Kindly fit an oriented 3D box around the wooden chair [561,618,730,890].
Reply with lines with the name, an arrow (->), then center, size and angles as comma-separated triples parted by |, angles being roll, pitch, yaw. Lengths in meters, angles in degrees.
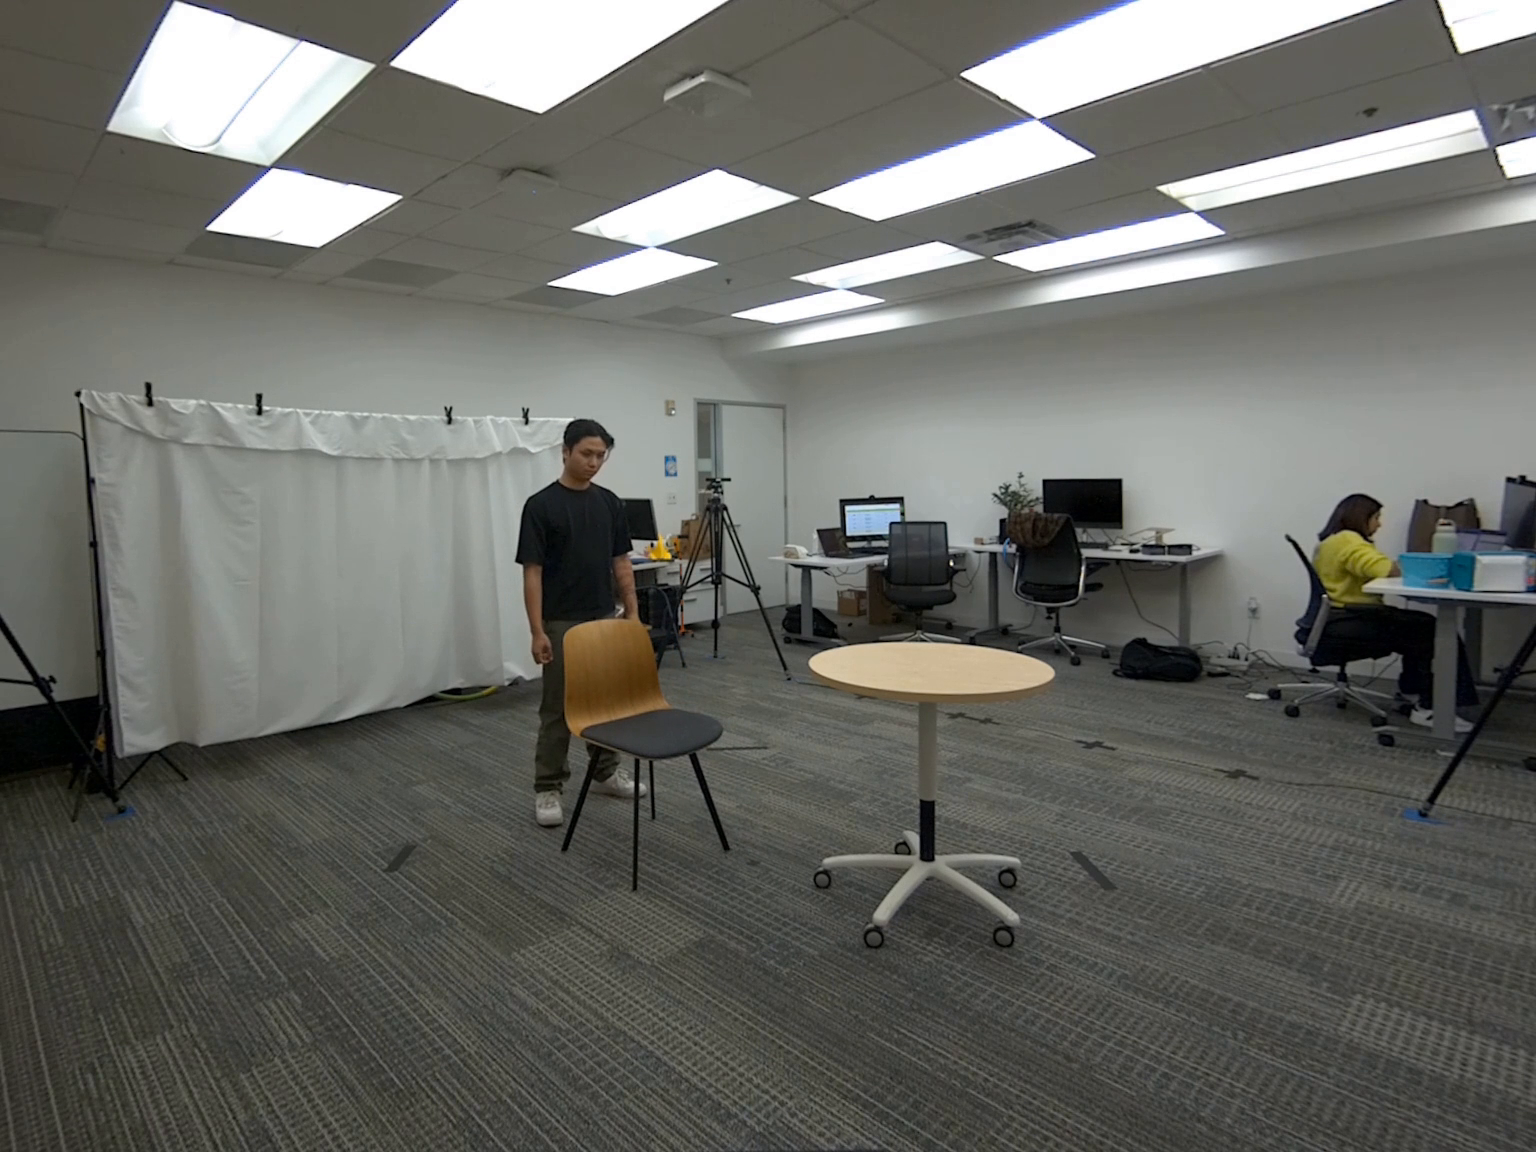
wooden chair -> -0.456, 0.615, 3.182 | 0.465, 0.877, 0.538 | -5, 1, -45
